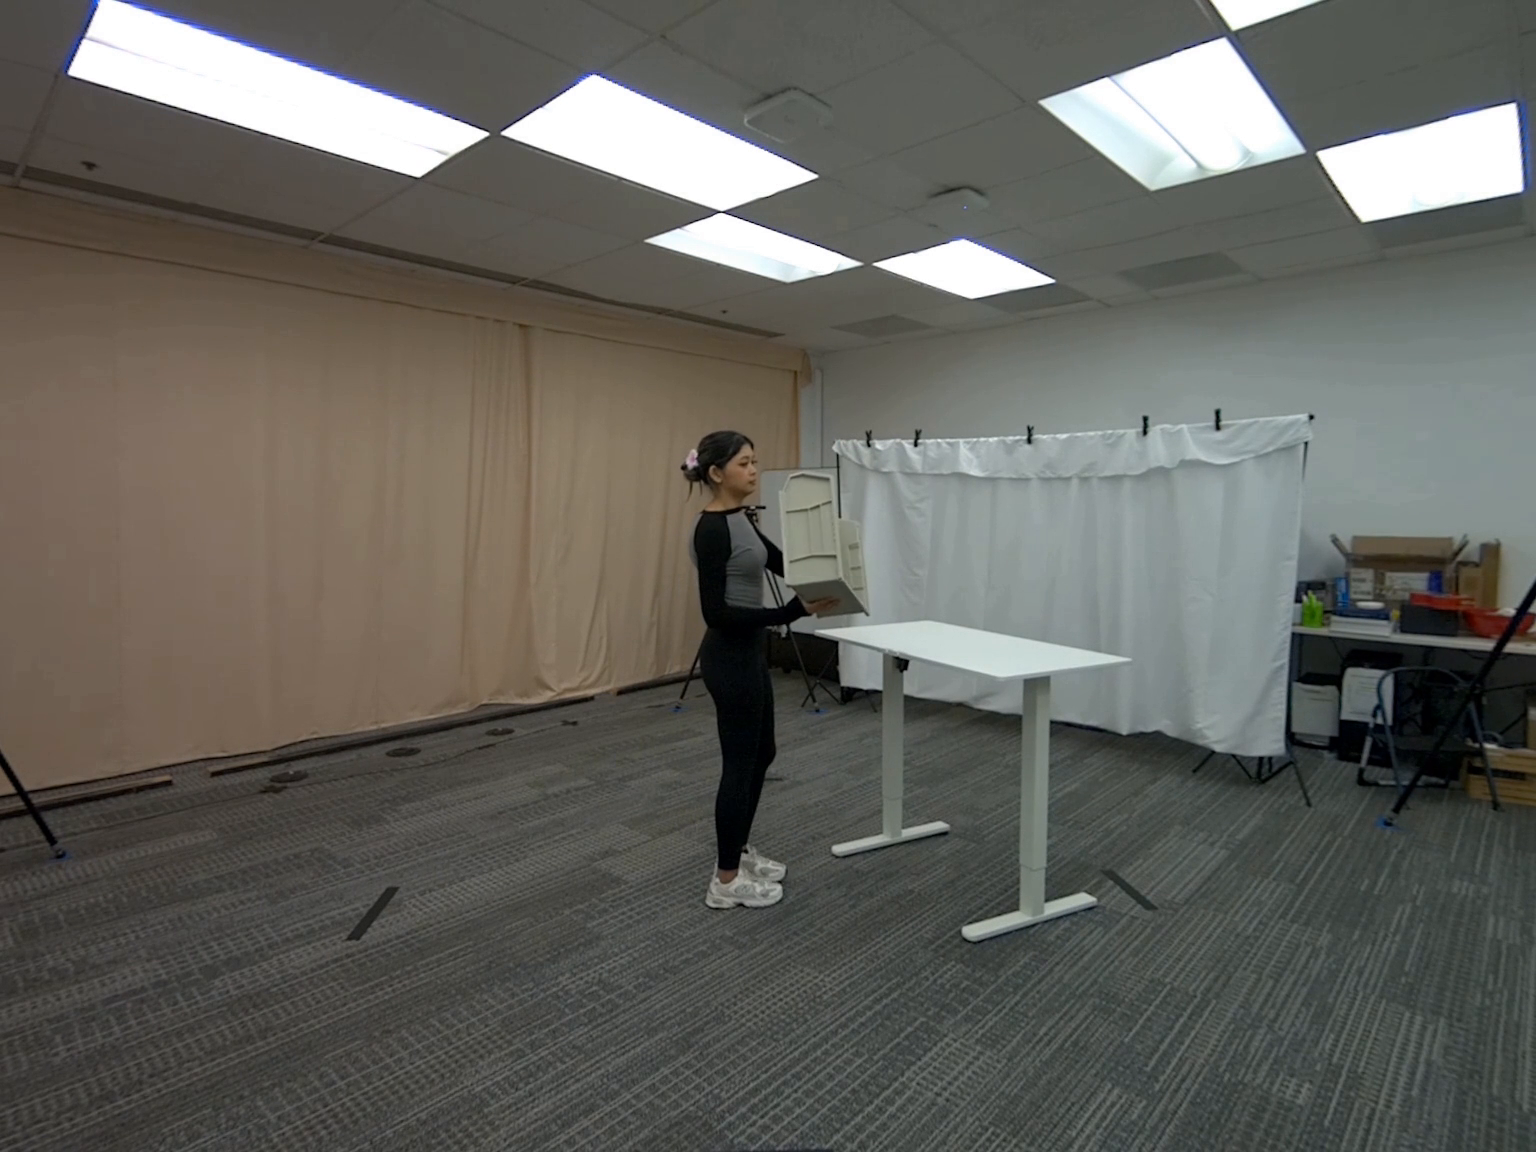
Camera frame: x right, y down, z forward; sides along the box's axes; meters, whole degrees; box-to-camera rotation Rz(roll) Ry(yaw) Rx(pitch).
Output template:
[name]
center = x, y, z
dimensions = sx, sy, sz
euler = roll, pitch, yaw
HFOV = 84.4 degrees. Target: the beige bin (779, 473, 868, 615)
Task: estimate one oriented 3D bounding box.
[beige bin]
center = 0.188, -0.091, 2.760
dimensions = 0.192, 0.382, 0.410
euler = -9, -21, 15
